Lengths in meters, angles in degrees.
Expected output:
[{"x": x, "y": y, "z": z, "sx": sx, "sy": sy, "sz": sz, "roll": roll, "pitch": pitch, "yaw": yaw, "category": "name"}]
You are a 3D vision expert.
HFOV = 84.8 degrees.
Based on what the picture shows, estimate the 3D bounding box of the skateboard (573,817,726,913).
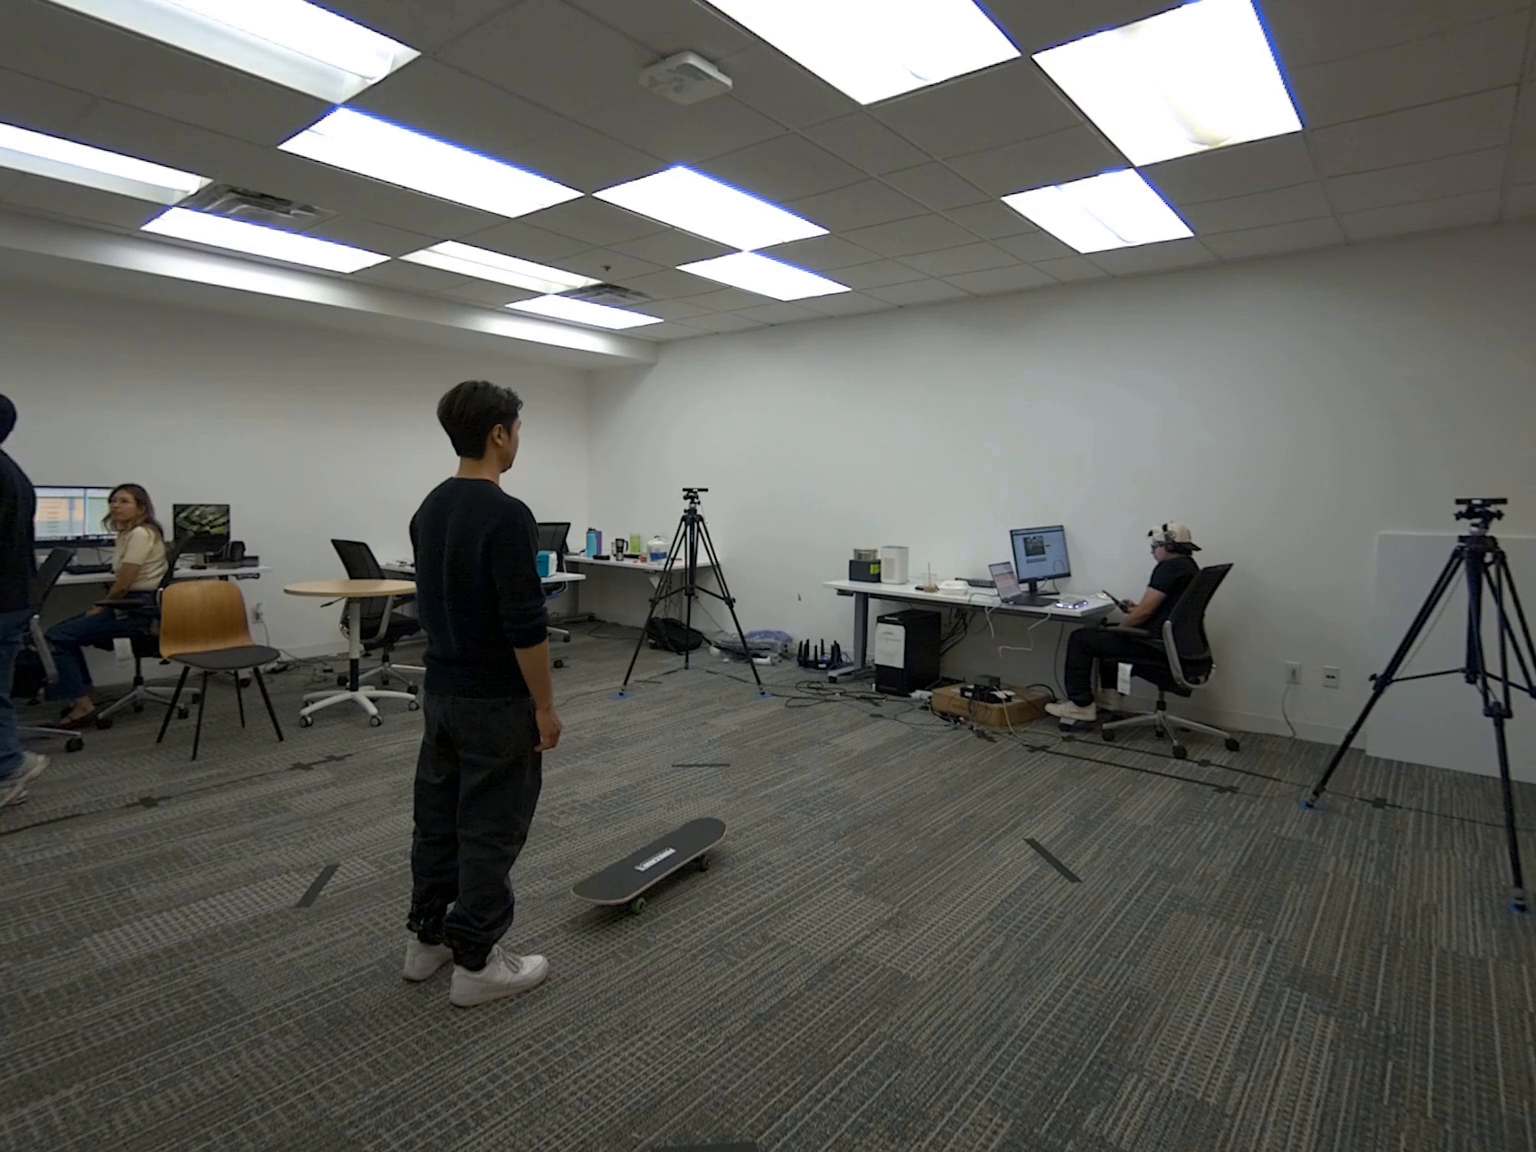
[{"x": -0.406, "y": 1.022, "z": 2.984, "sx": 0.199, "sy": 0.110, "sz": 0.765, "roll": 3, "pitch": 6, "yaw": 29, "category": "skateboard"}]
